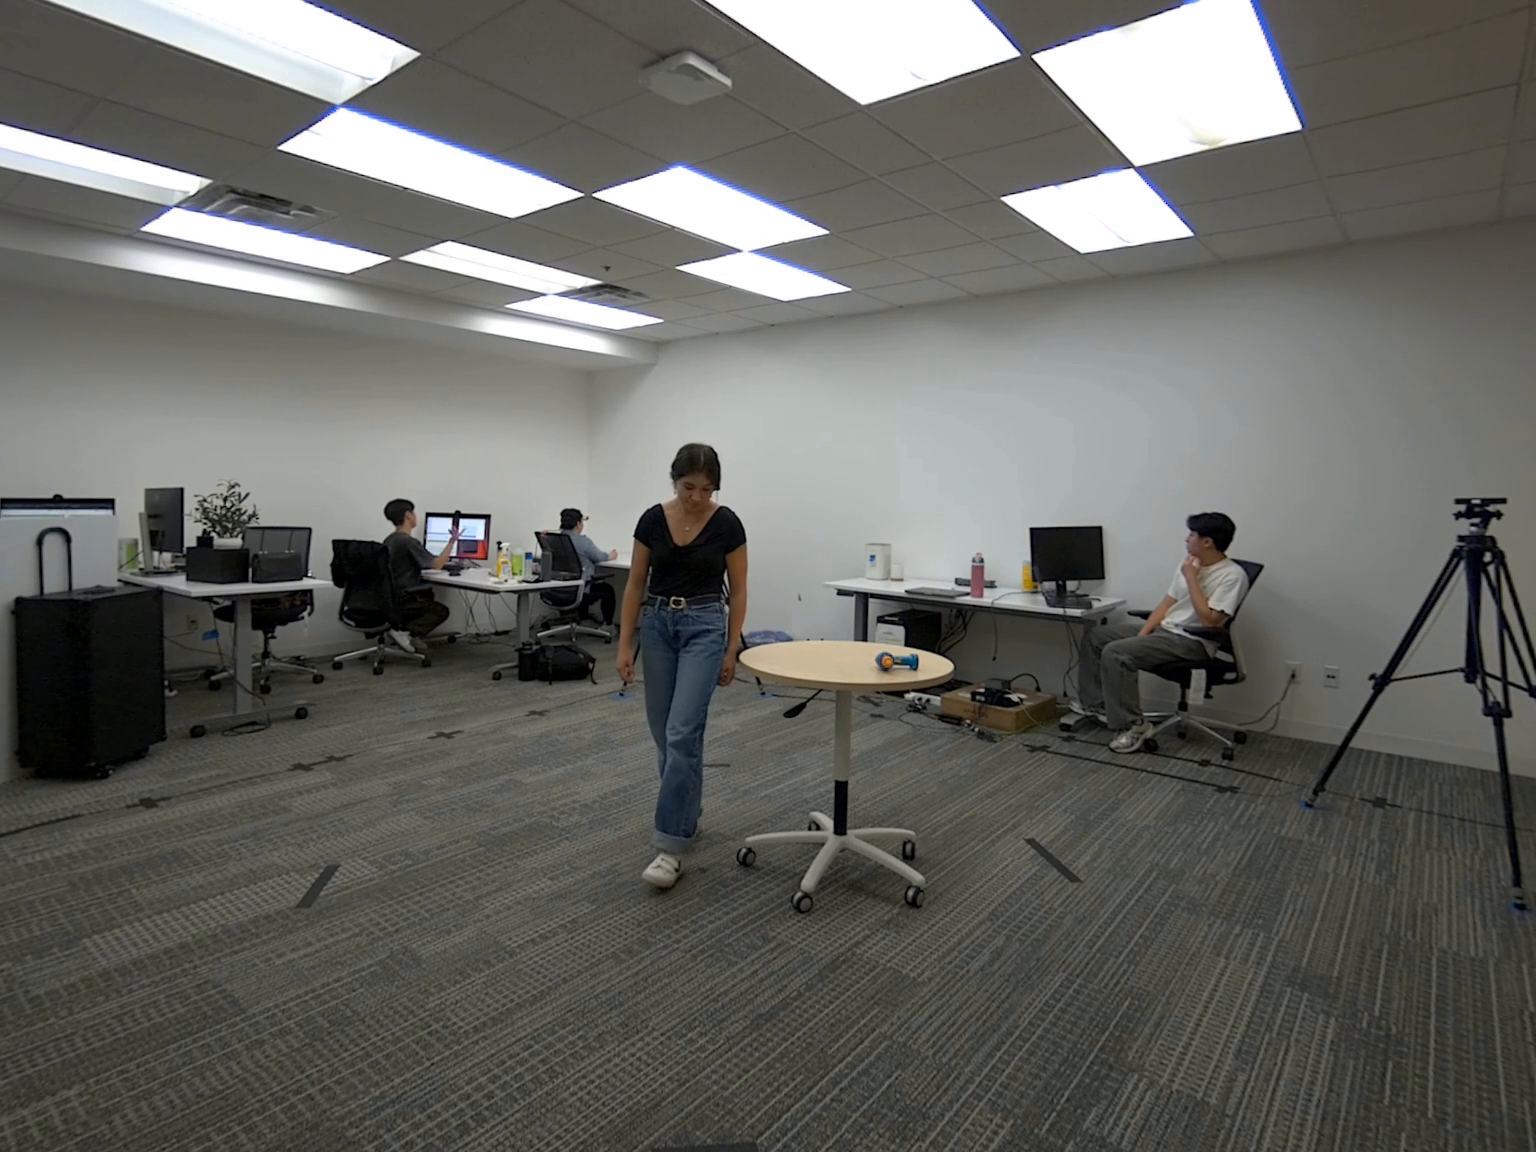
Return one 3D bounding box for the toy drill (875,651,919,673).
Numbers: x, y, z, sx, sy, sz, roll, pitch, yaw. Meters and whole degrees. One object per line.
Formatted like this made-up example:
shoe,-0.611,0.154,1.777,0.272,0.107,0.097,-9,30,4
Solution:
toy drill,0.451,0.284,2.897,0.146,0.061,0.169,2,-2,0
